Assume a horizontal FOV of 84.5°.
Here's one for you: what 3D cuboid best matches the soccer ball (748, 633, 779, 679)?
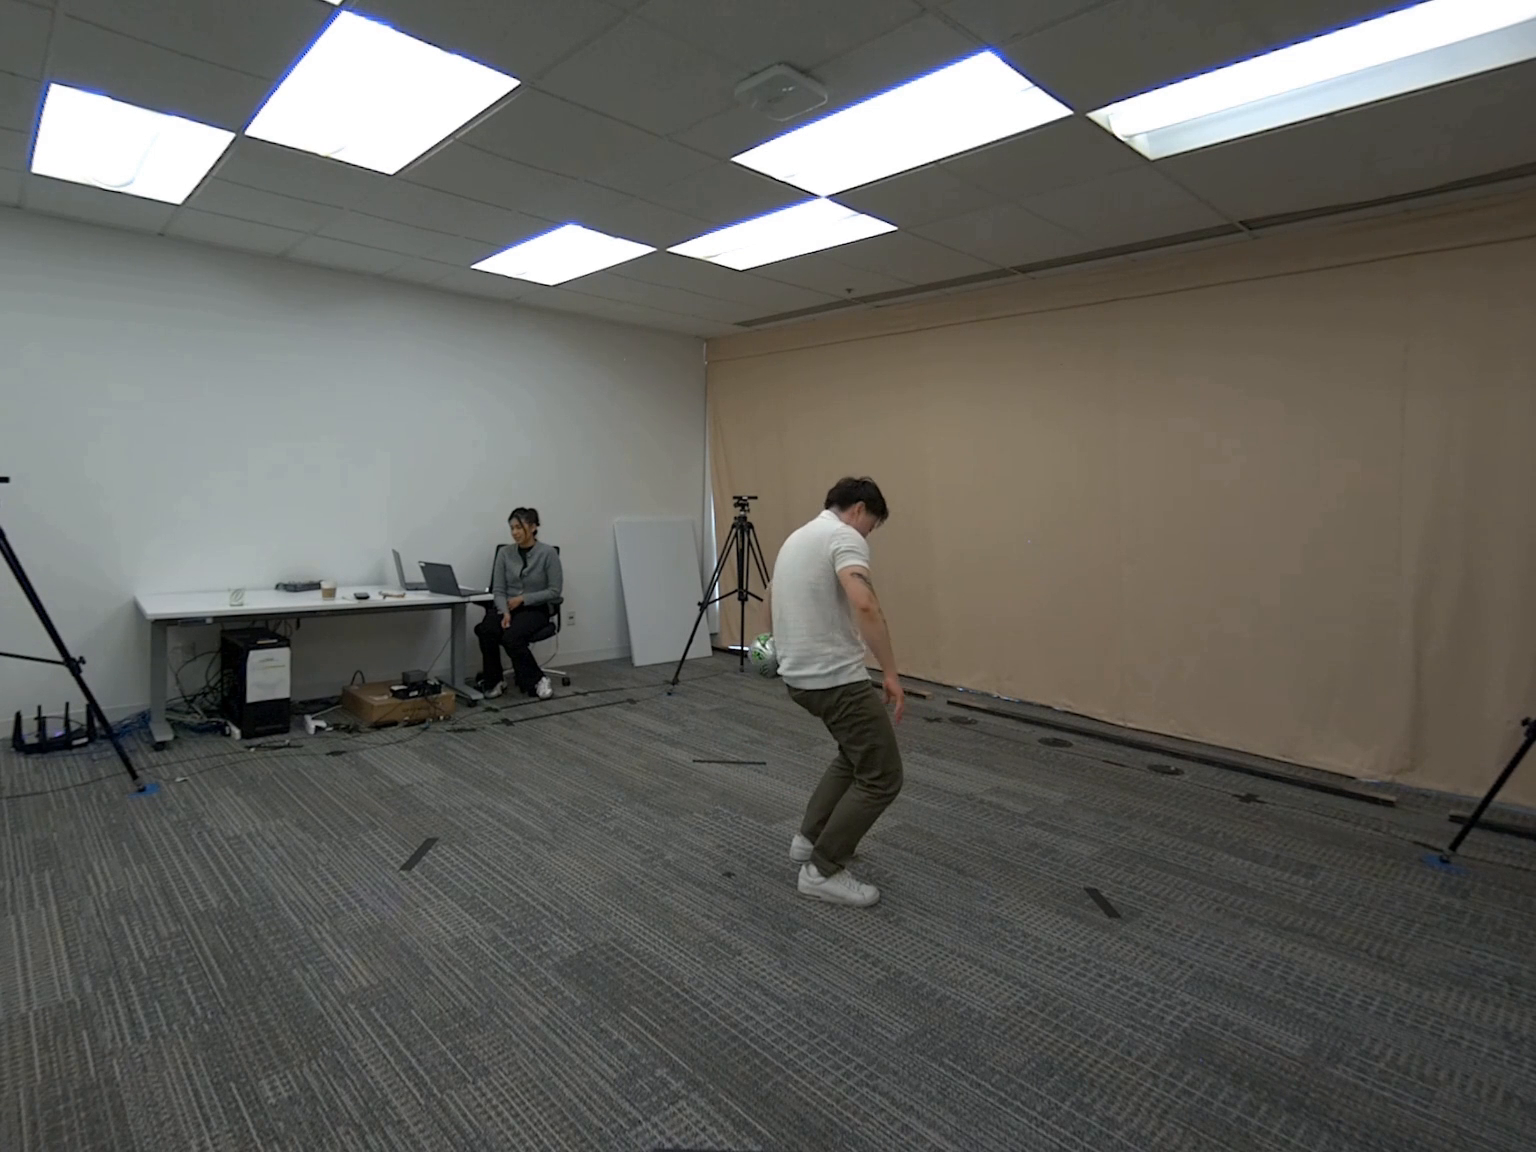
[{"bbox_3d":[0.005,0.320,3.344,0.187,0.187,0.188,1,4,-1],"label":"soccer ball"}]
